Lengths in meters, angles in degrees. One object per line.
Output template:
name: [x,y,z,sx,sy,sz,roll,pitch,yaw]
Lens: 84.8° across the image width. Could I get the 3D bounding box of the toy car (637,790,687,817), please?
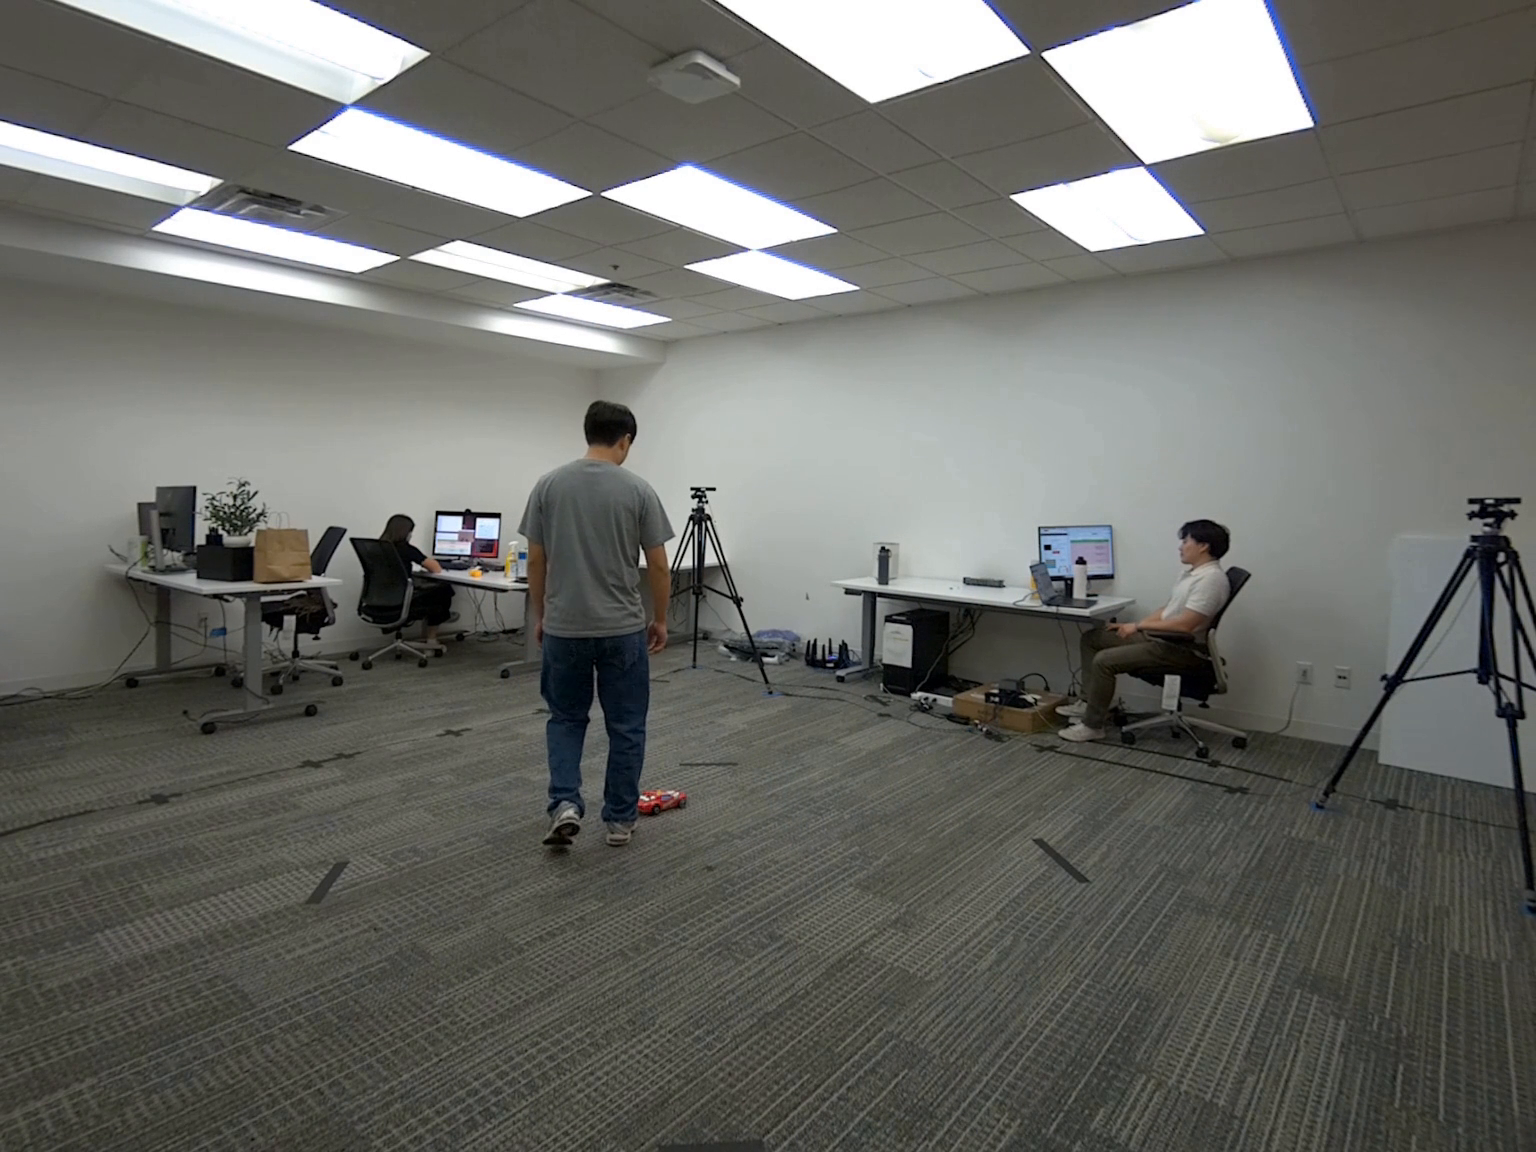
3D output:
toy car: [-0.488,0.972,3.679,0.245,0.083,0.135,10,-3,-41]
